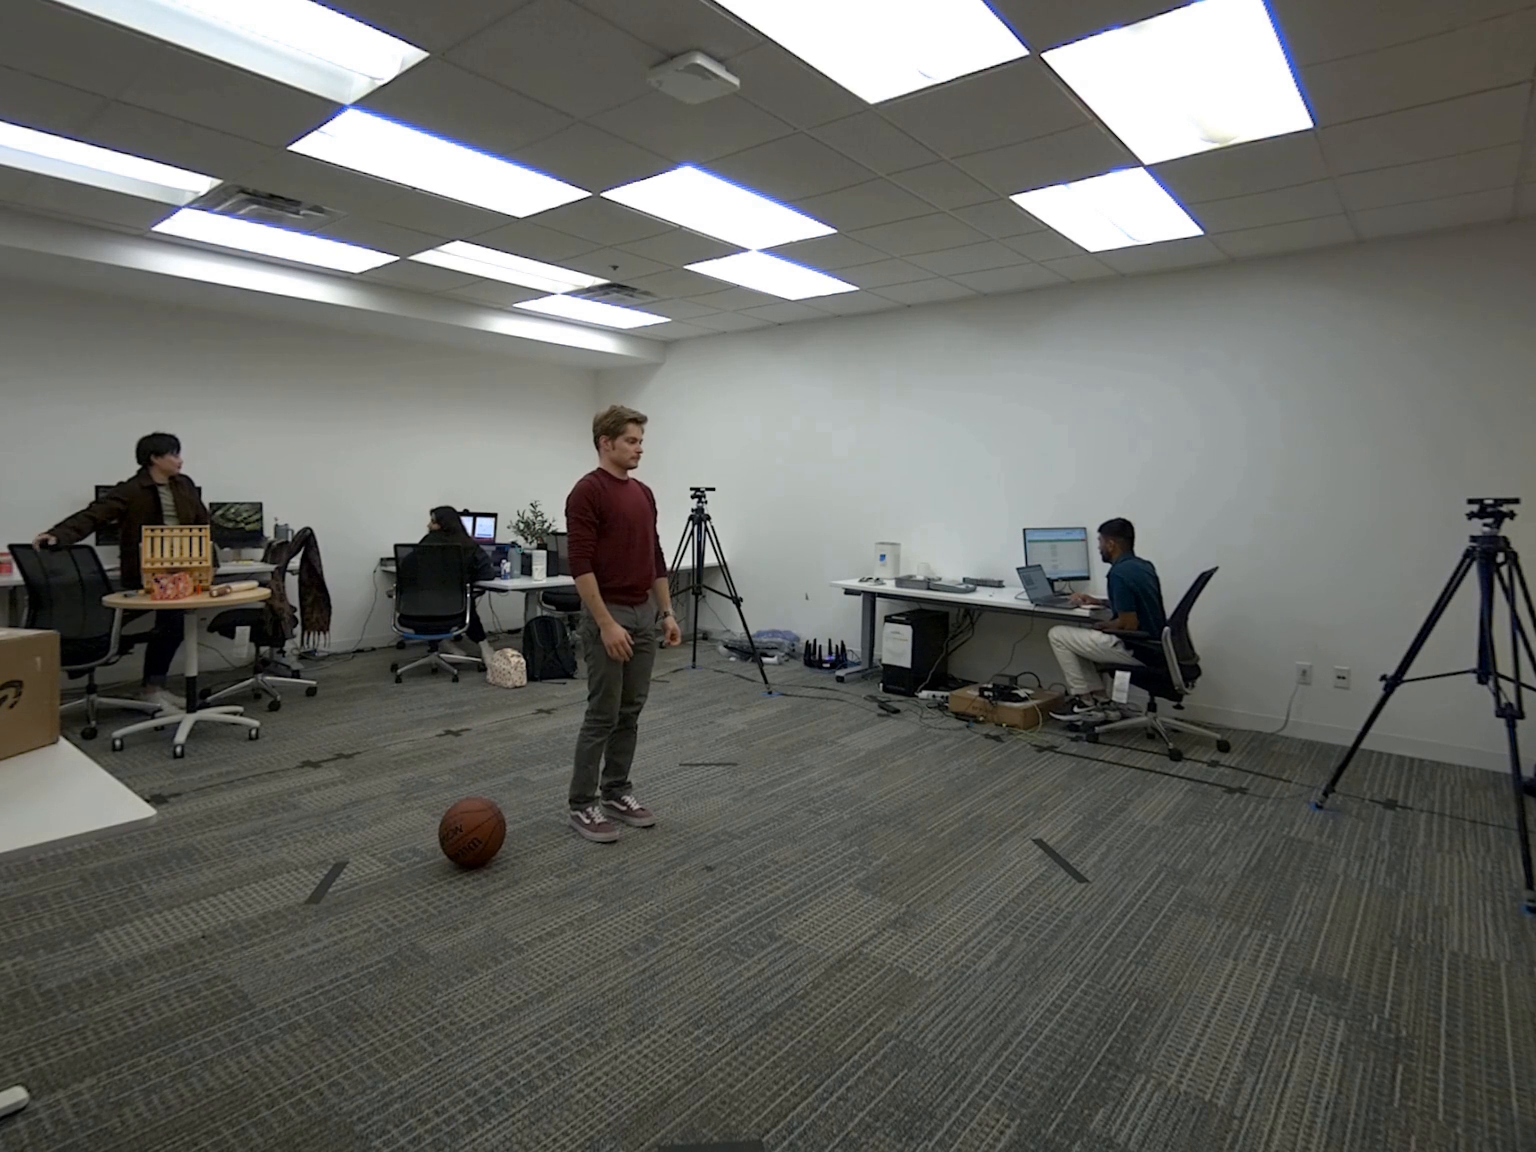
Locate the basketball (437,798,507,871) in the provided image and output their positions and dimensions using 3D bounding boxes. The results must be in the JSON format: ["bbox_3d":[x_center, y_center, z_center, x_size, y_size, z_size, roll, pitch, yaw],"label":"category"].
[{"bbox_3d":[-1.097,0.934,3.108,0.235,0.235,0.237,1,4,-2],"label":"basketball"}]
